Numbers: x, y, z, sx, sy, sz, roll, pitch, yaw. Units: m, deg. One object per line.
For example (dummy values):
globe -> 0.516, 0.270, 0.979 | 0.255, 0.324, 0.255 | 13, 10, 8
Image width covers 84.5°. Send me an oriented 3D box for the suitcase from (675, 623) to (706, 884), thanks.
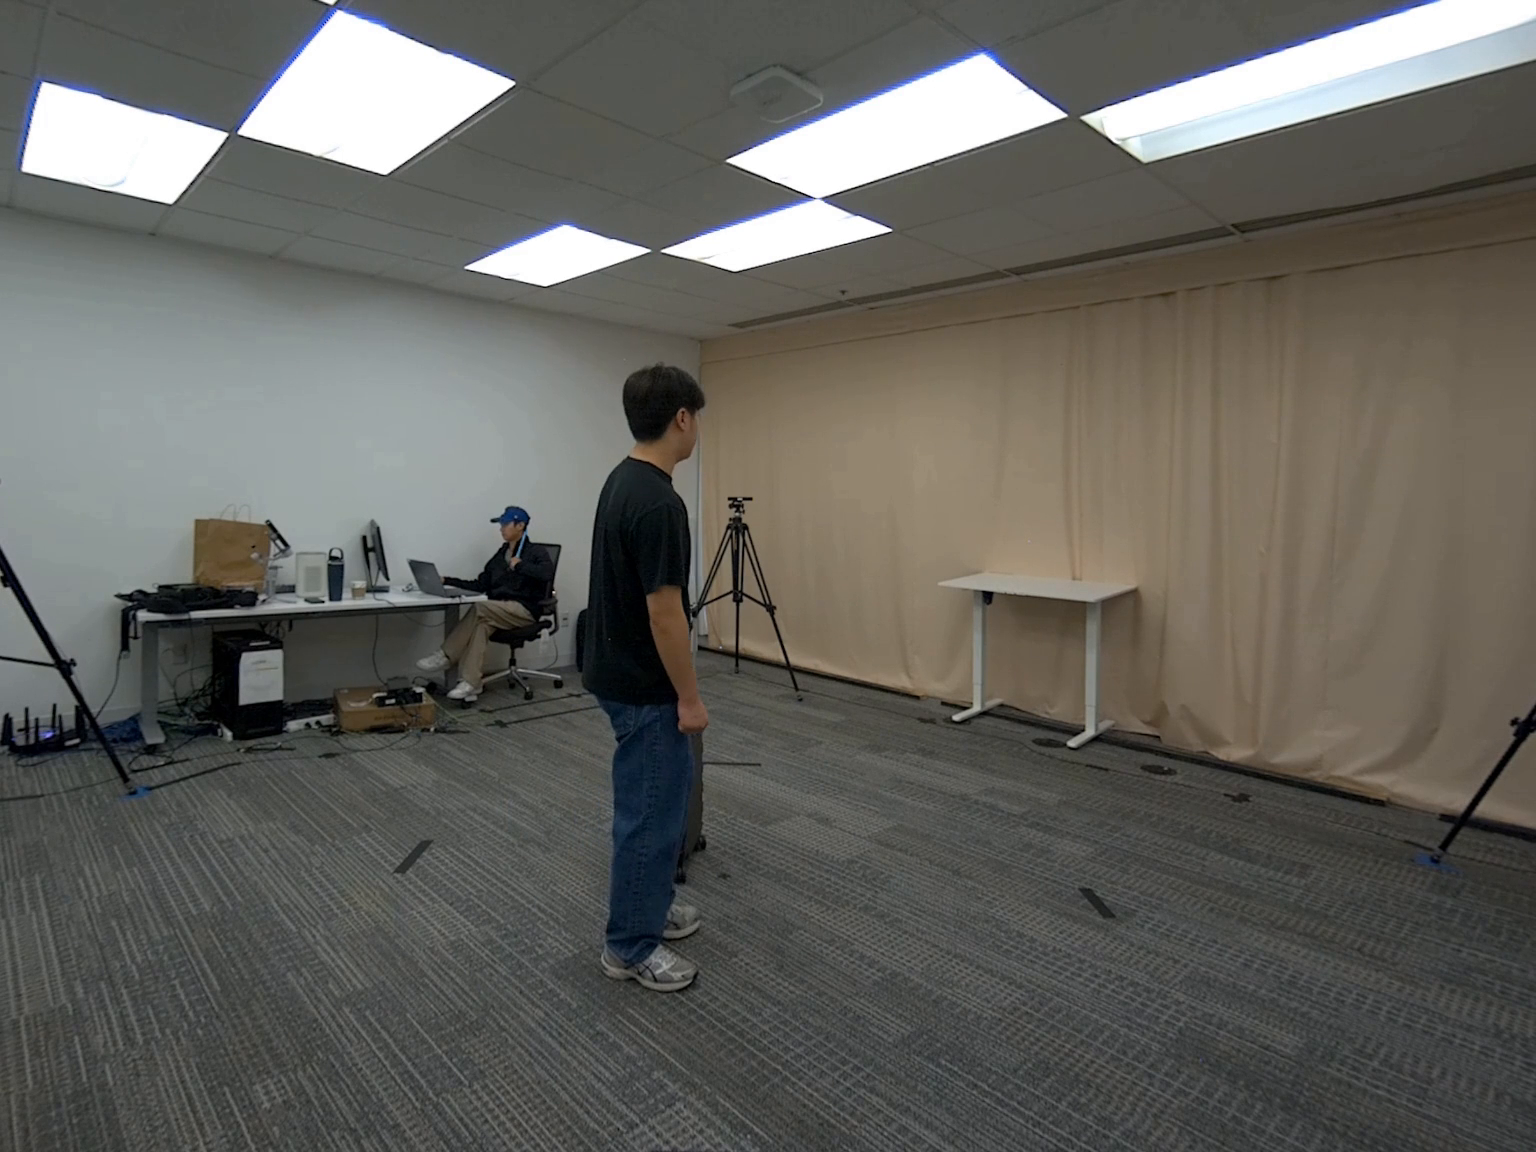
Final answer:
suitcase -> -0.416, 0.618, 3.214 | 0.259, 0.978, 0.381 | 0, 1, 8
